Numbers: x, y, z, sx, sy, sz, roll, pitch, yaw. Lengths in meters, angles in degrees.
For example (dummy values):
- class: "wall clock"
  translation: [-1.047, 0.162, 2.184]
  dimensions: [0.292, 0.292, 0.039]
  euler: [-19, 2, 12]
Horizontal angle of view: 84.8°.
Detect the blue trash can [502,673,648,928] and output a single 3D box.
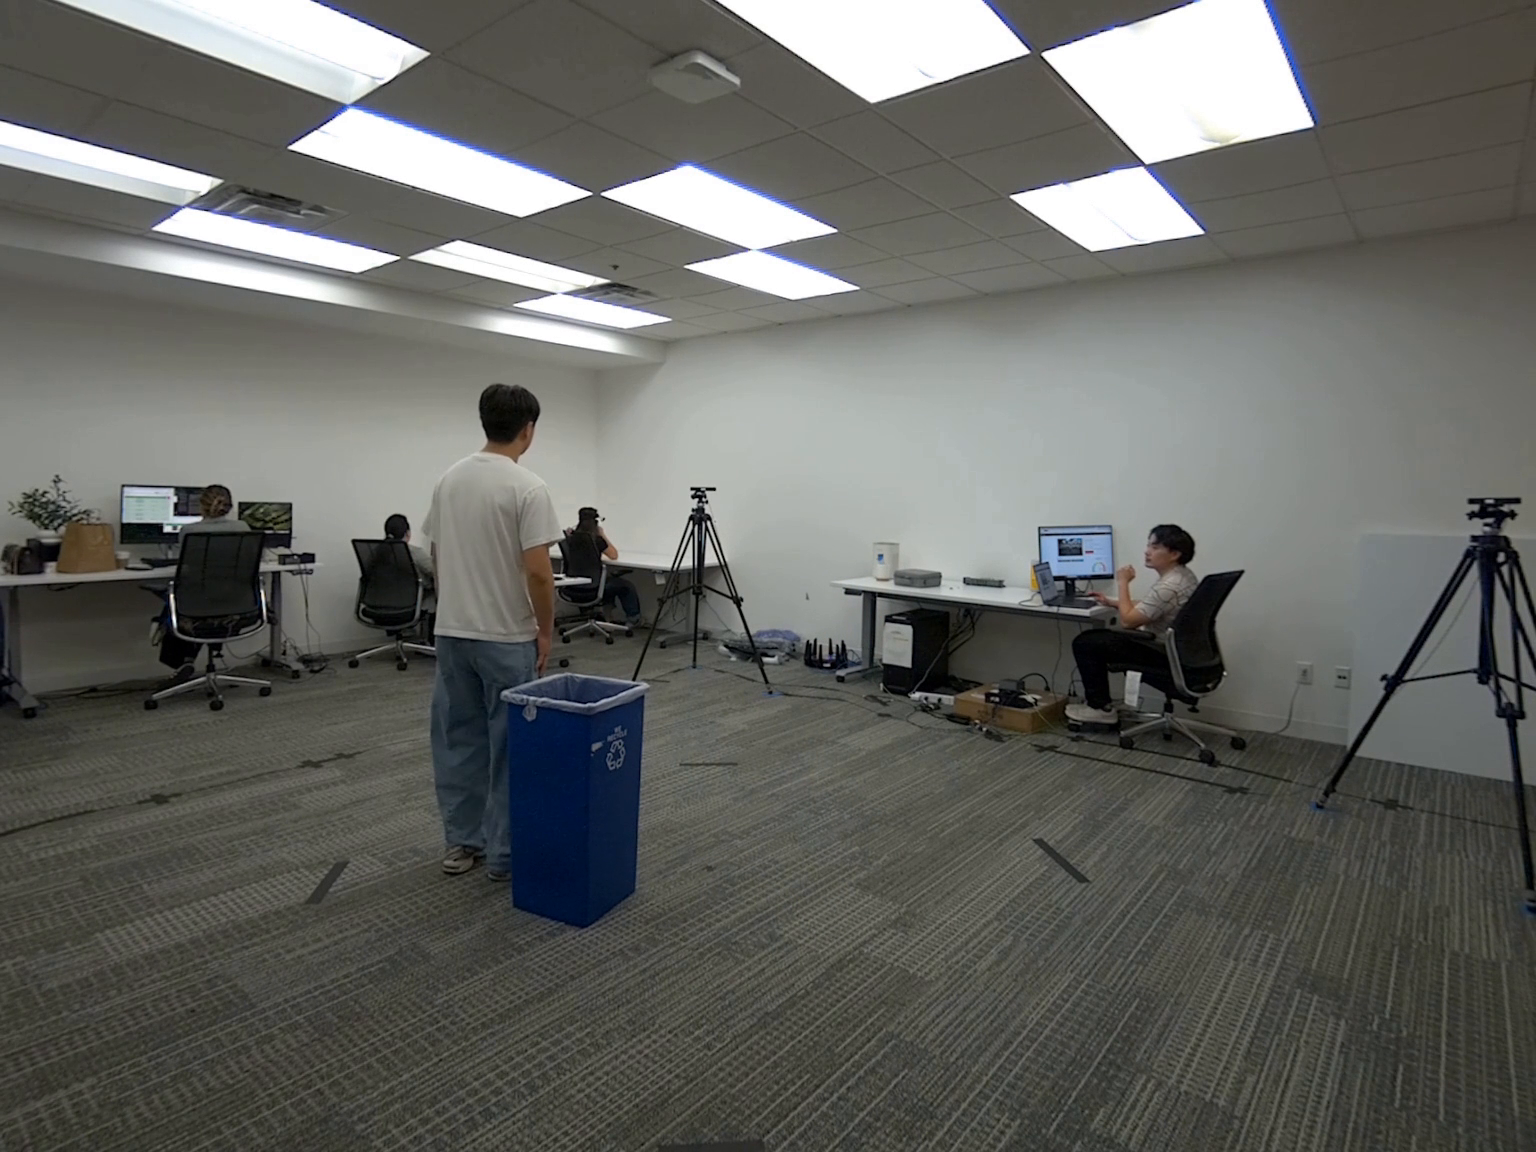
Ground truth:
- class: "blue trash can"
  translation: [-0.652, 0.725, 2.848]
  dimensions: [0.388, 0.711, 0.366]
  euler: [2, 4, 25]
